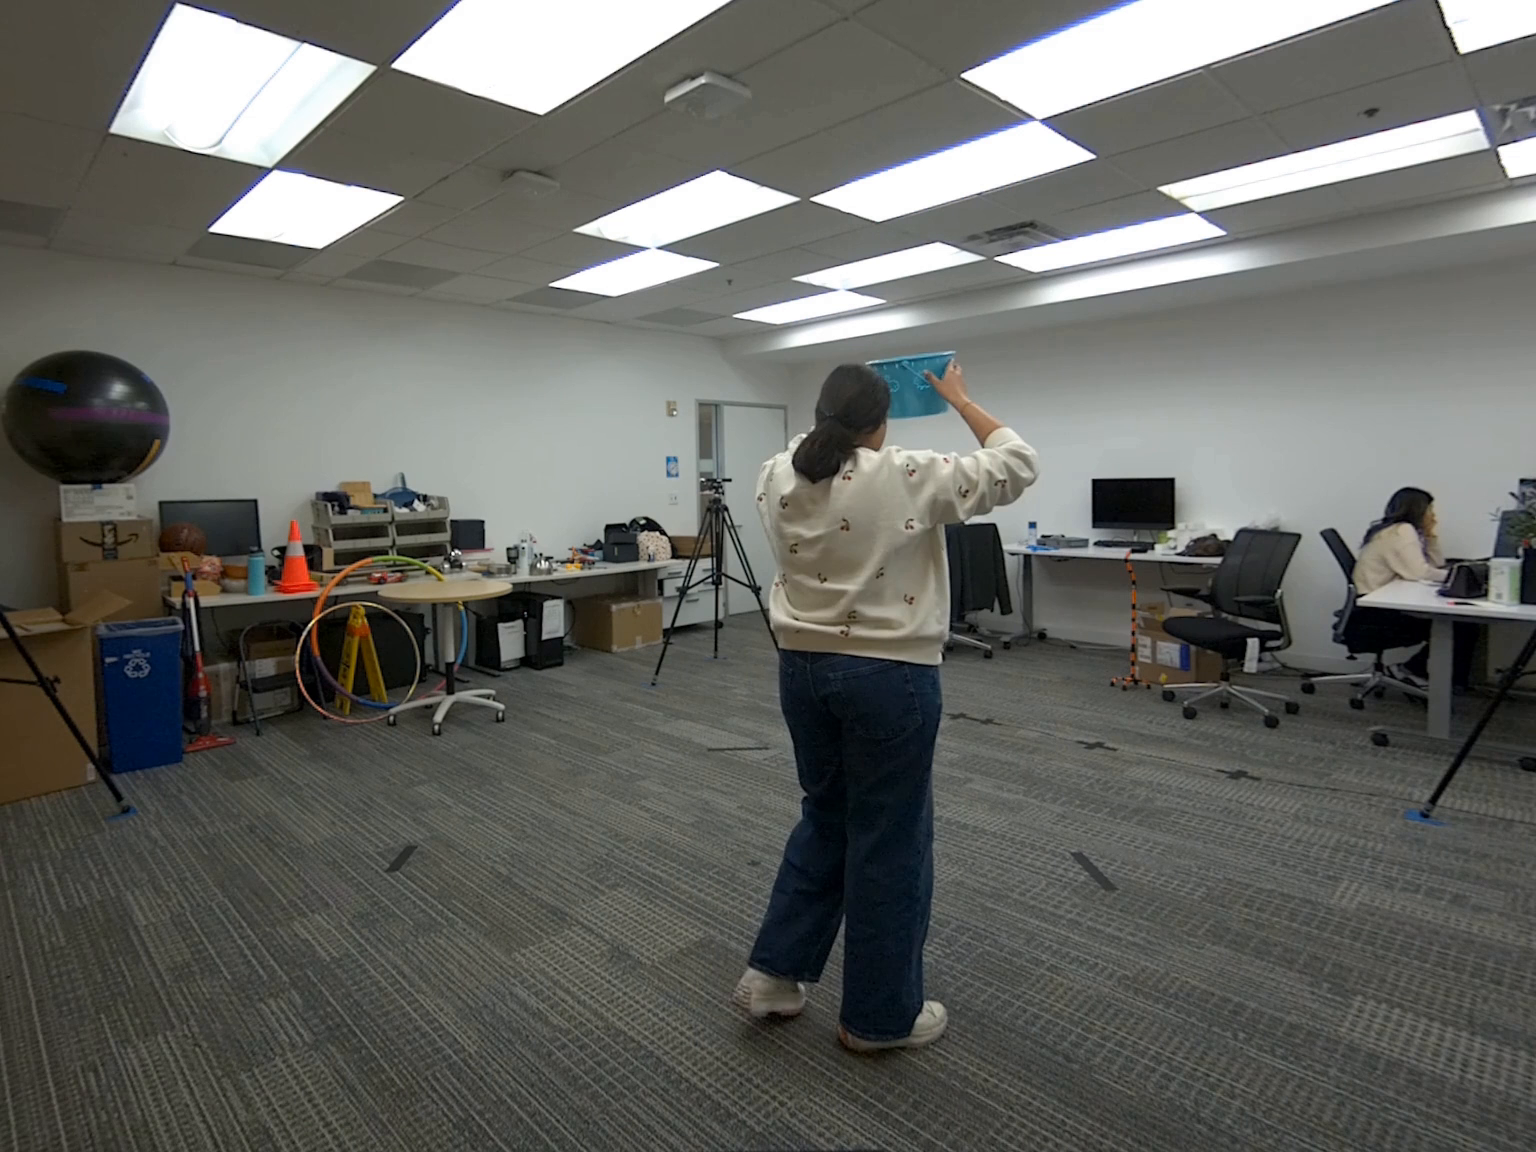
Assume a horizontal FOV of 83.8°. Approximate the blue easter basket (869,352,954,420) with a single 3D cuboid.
[{"bbox_3d":[0.395,-0.514,2.274,0.244,0.154,0.246,-8,13,0],"label":"blue easter basket"}]
